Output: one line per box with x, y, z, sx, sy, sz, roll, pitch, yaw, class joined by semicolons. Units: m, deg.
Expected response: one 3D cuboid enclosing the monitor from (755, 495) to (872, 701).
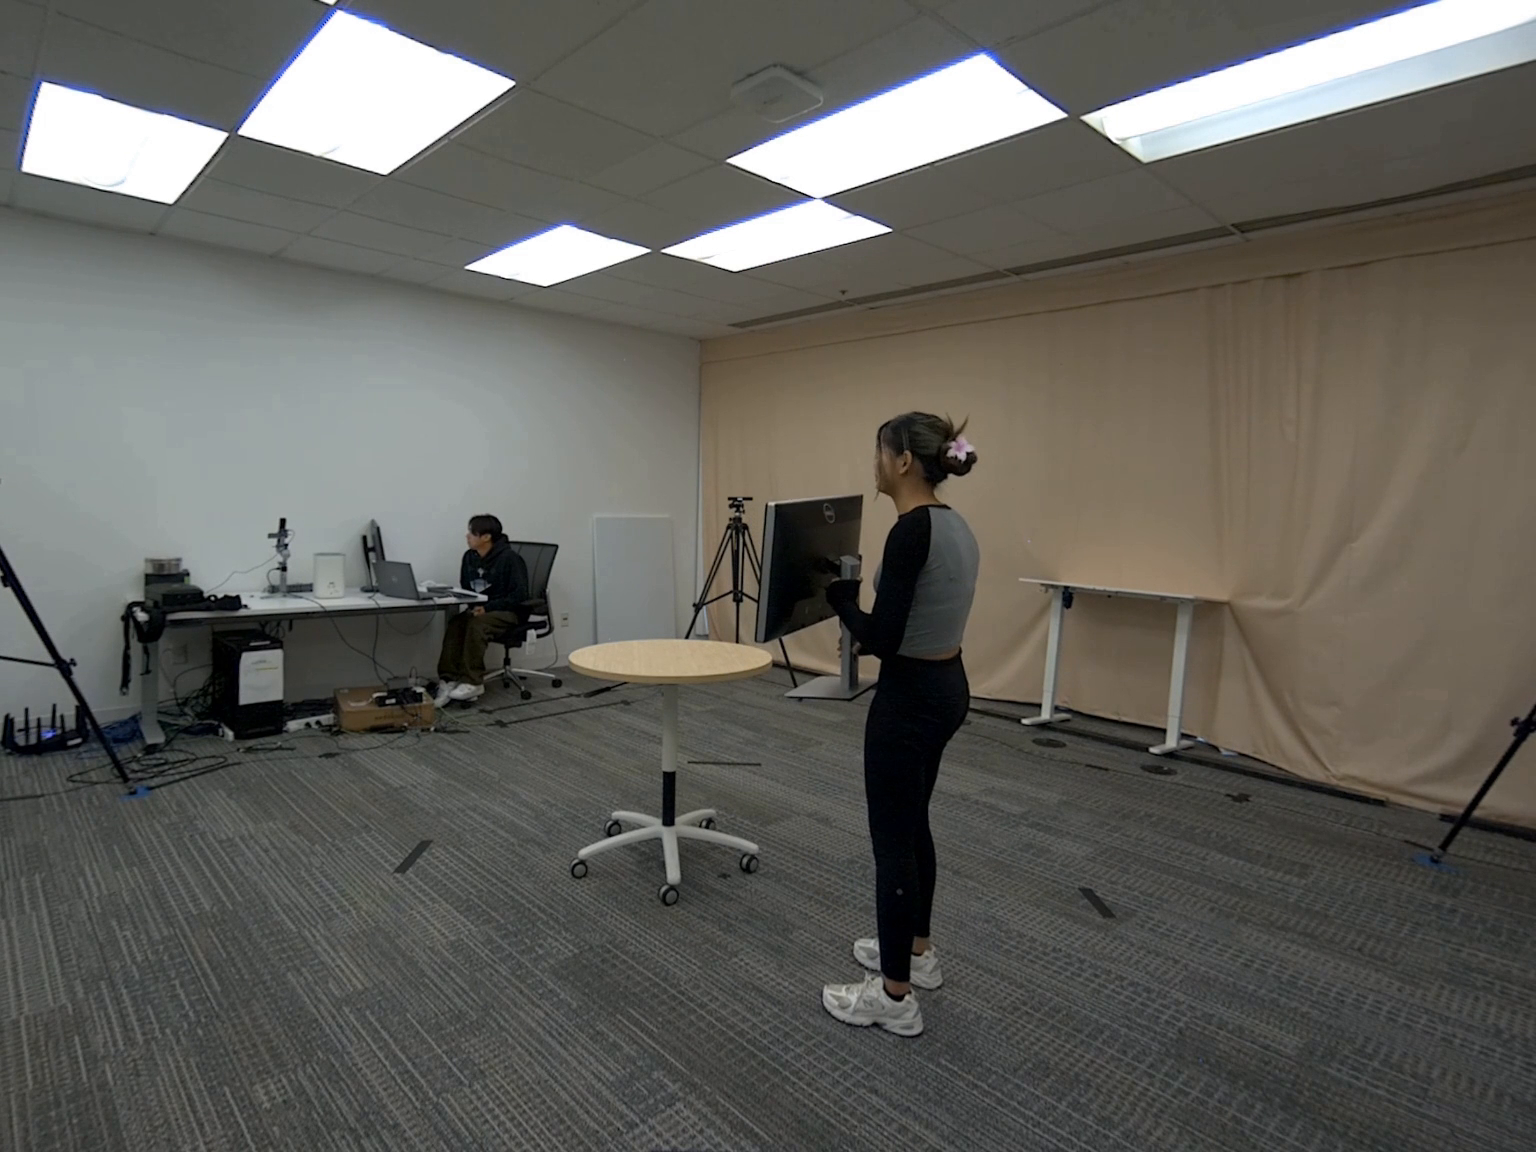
0.166;0.056;2.343;0.191;0.521;0.530;-4;4;29;monitor
